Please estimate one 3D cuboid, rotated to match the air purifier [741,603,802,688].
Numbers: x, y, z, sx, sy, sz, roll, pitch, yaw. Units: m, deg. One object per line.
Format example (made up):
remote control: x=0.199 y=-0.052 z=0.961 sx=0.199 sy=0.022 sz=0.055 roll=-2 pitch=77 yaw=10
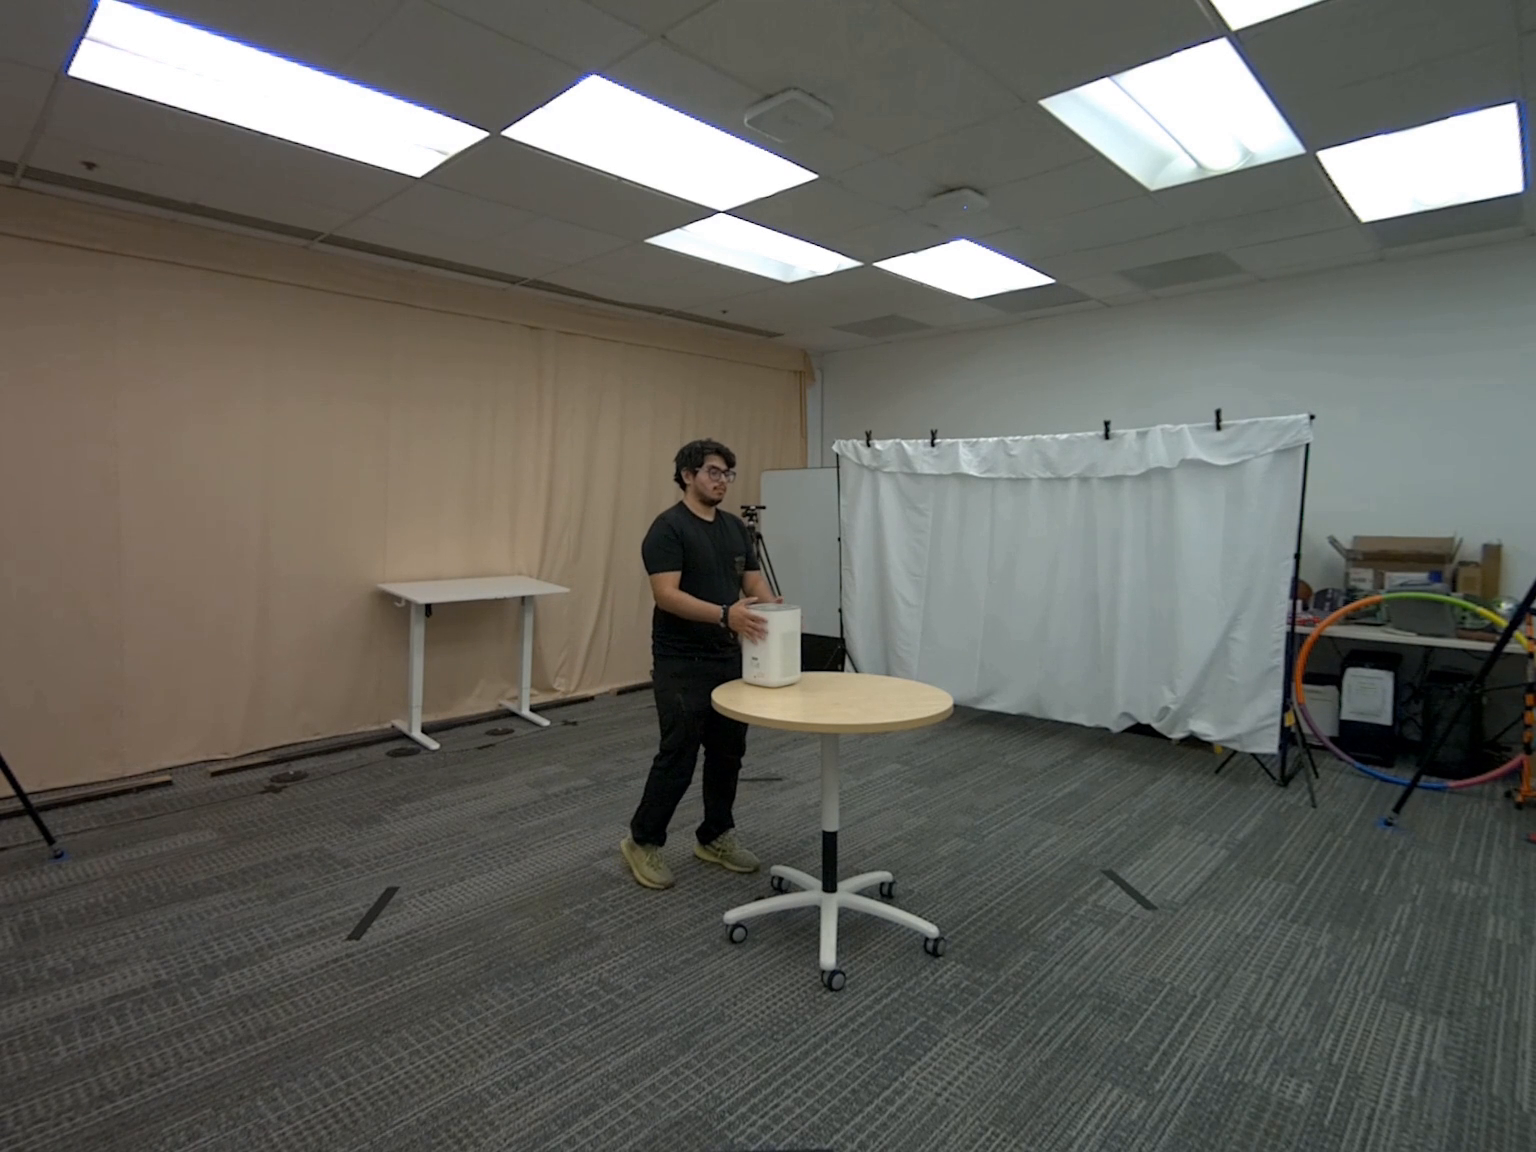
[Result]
air purifier: x=0.014 y=0.236 z=2.883 sx=0.177 sy=0.265 sz=0.166 roll=2 pitch=4 yaw=43
